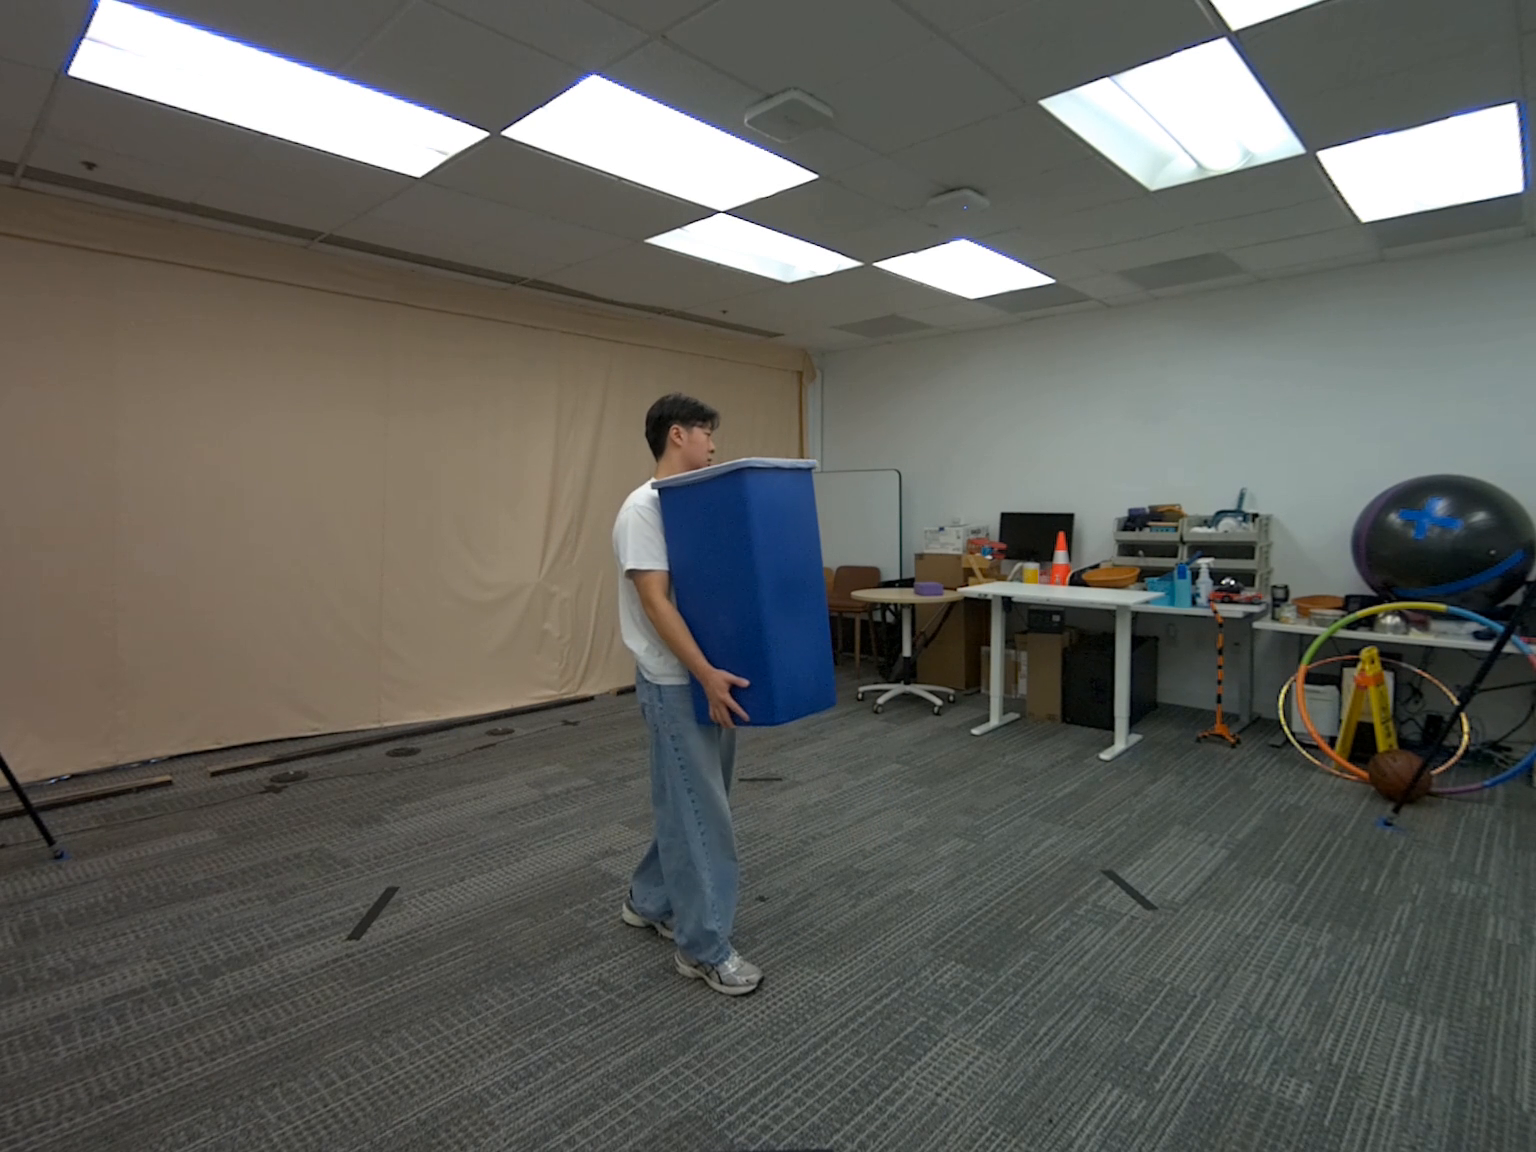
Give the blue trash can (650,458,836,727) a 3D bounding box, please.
[{"bbox_3d":[-0.043,0.042,2.425,0.388,0.715,0.363,-10,-3,37],"label":"blue trash can"}]
